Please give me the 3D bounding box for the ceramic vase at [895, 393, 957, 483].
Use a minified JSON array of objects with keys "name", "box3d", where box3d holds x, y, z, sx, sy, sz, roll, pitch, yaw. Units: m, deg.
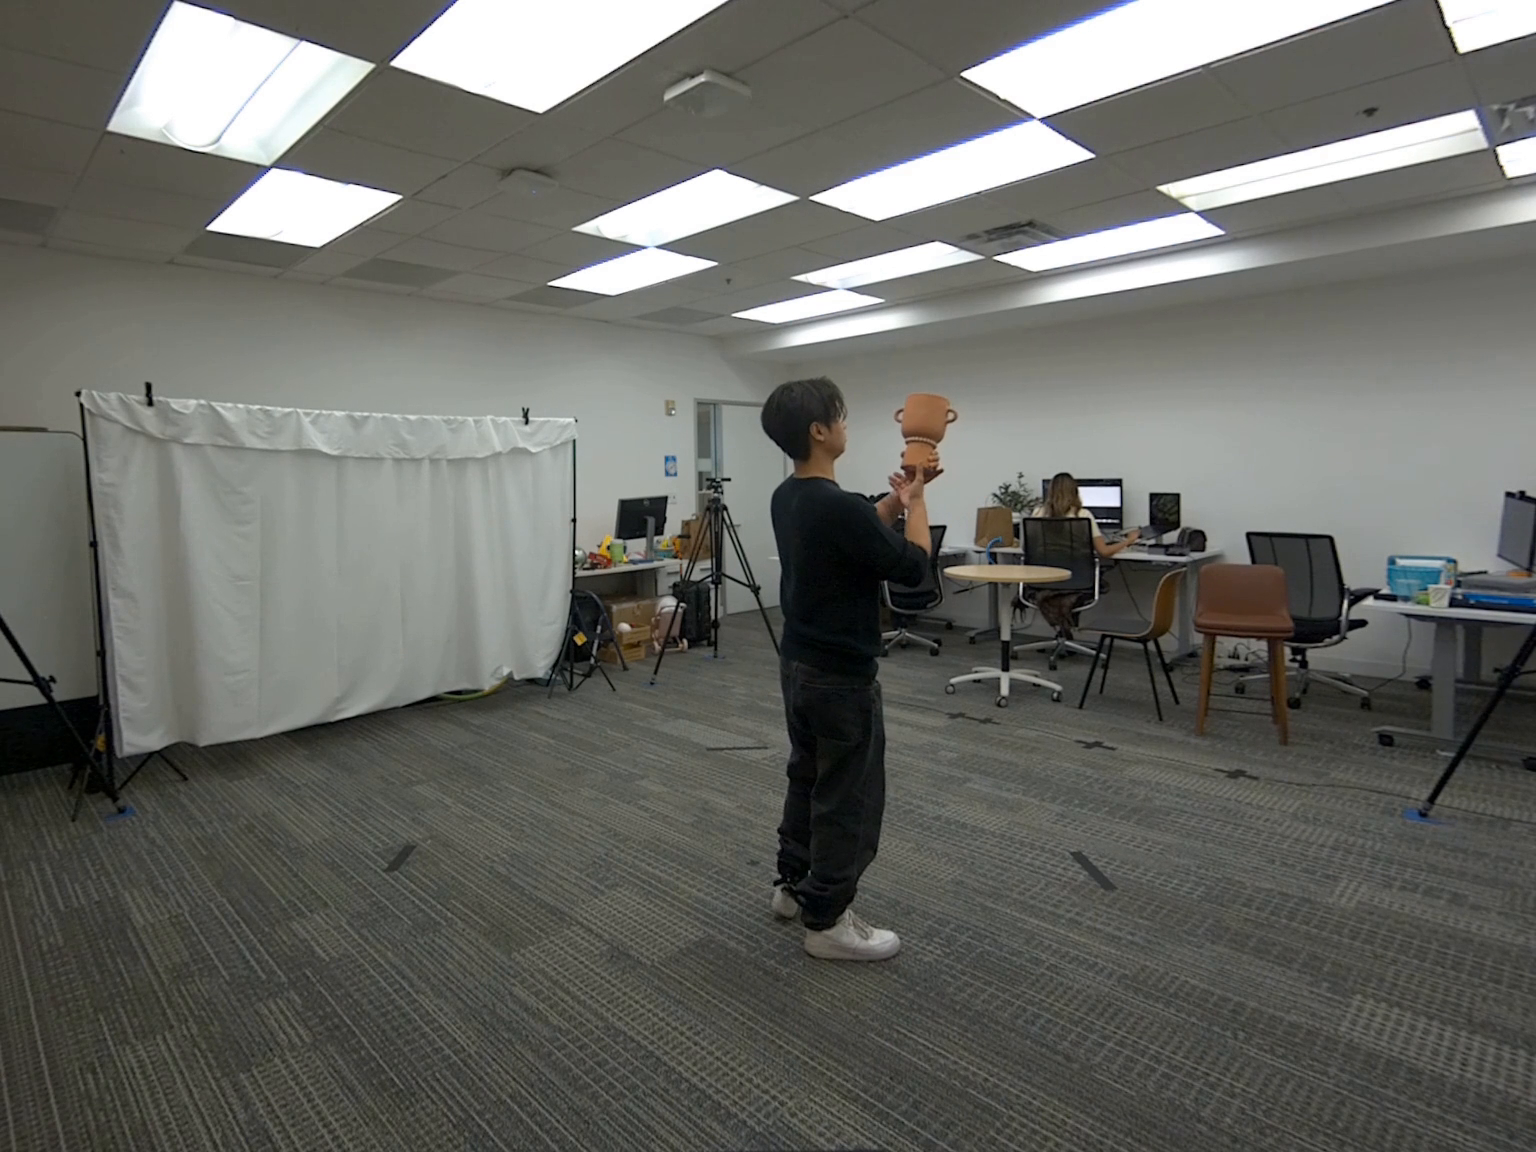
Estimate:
[{"name":"ceramic vase","box3d":[0.470,-0.424,2.571,0.132,0.221,0.161,14,-8,-19]}]
